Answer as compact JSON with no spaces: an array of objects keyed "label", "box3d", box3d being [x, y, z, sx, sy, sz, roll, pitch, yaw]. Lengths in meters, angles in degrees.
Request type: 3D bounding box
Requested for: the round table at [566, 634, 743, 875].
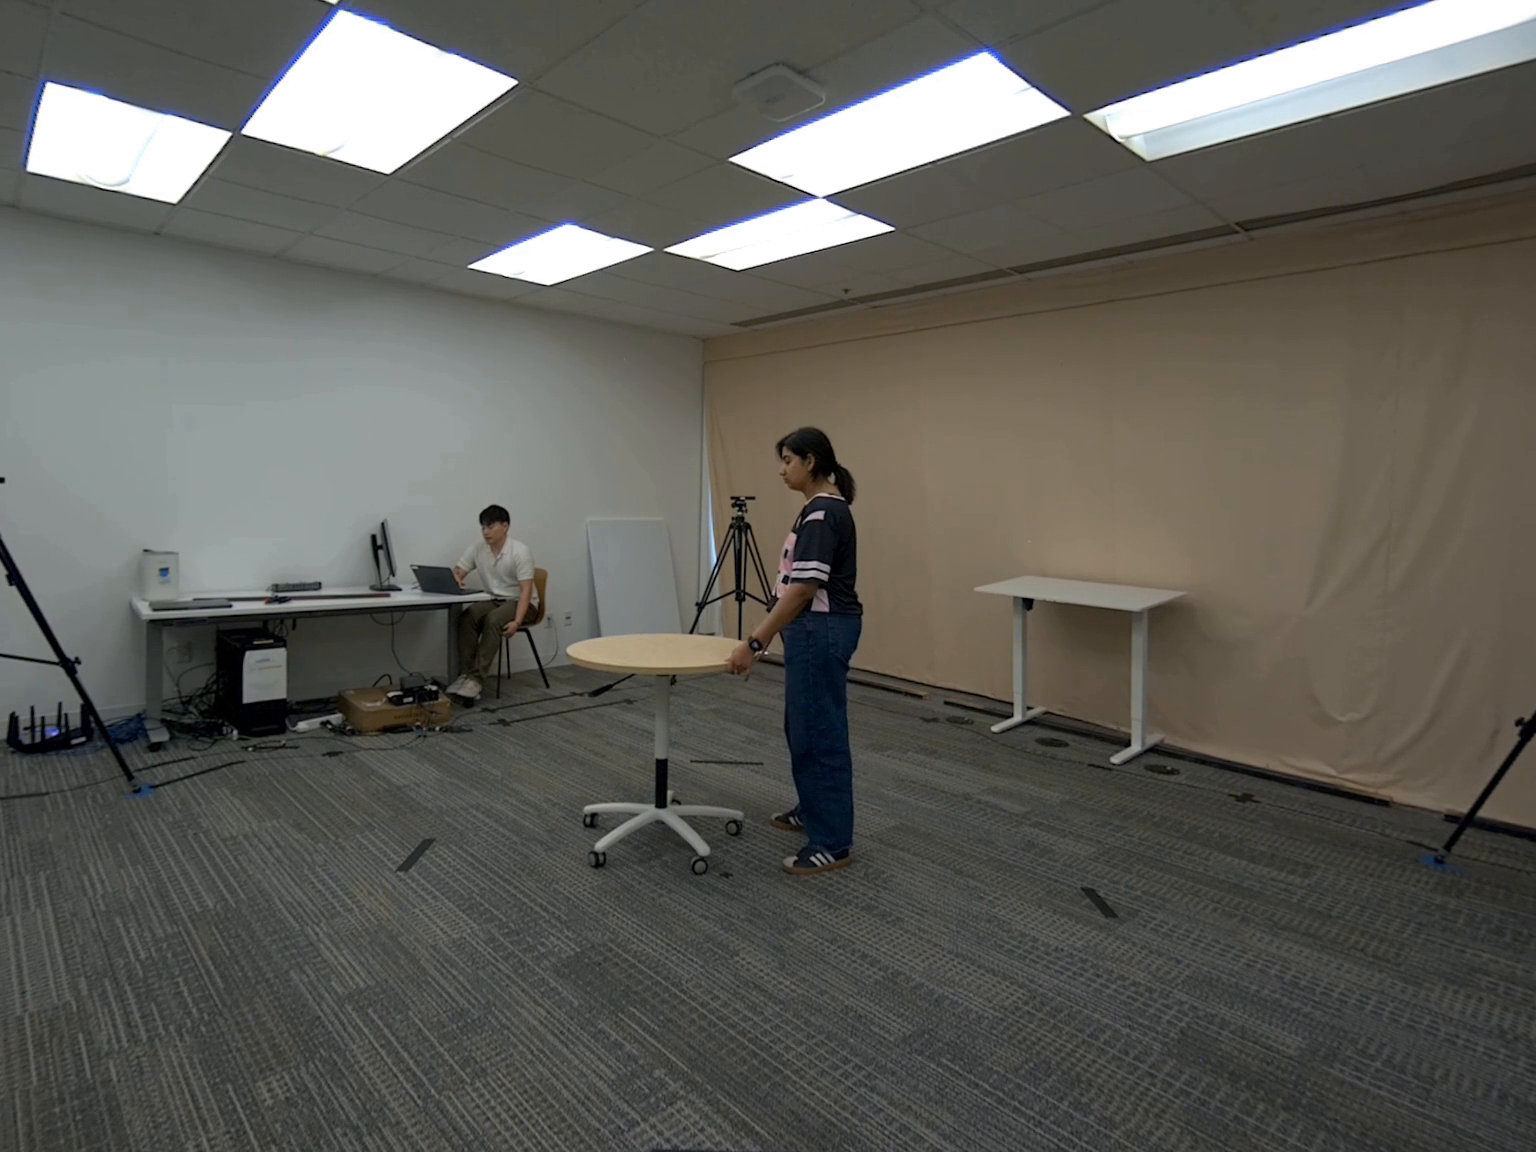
[{"label":"round table","box3d":[-0.428,0.681,3.376,0.763,0.792,0.766,1,4,-1]}]
